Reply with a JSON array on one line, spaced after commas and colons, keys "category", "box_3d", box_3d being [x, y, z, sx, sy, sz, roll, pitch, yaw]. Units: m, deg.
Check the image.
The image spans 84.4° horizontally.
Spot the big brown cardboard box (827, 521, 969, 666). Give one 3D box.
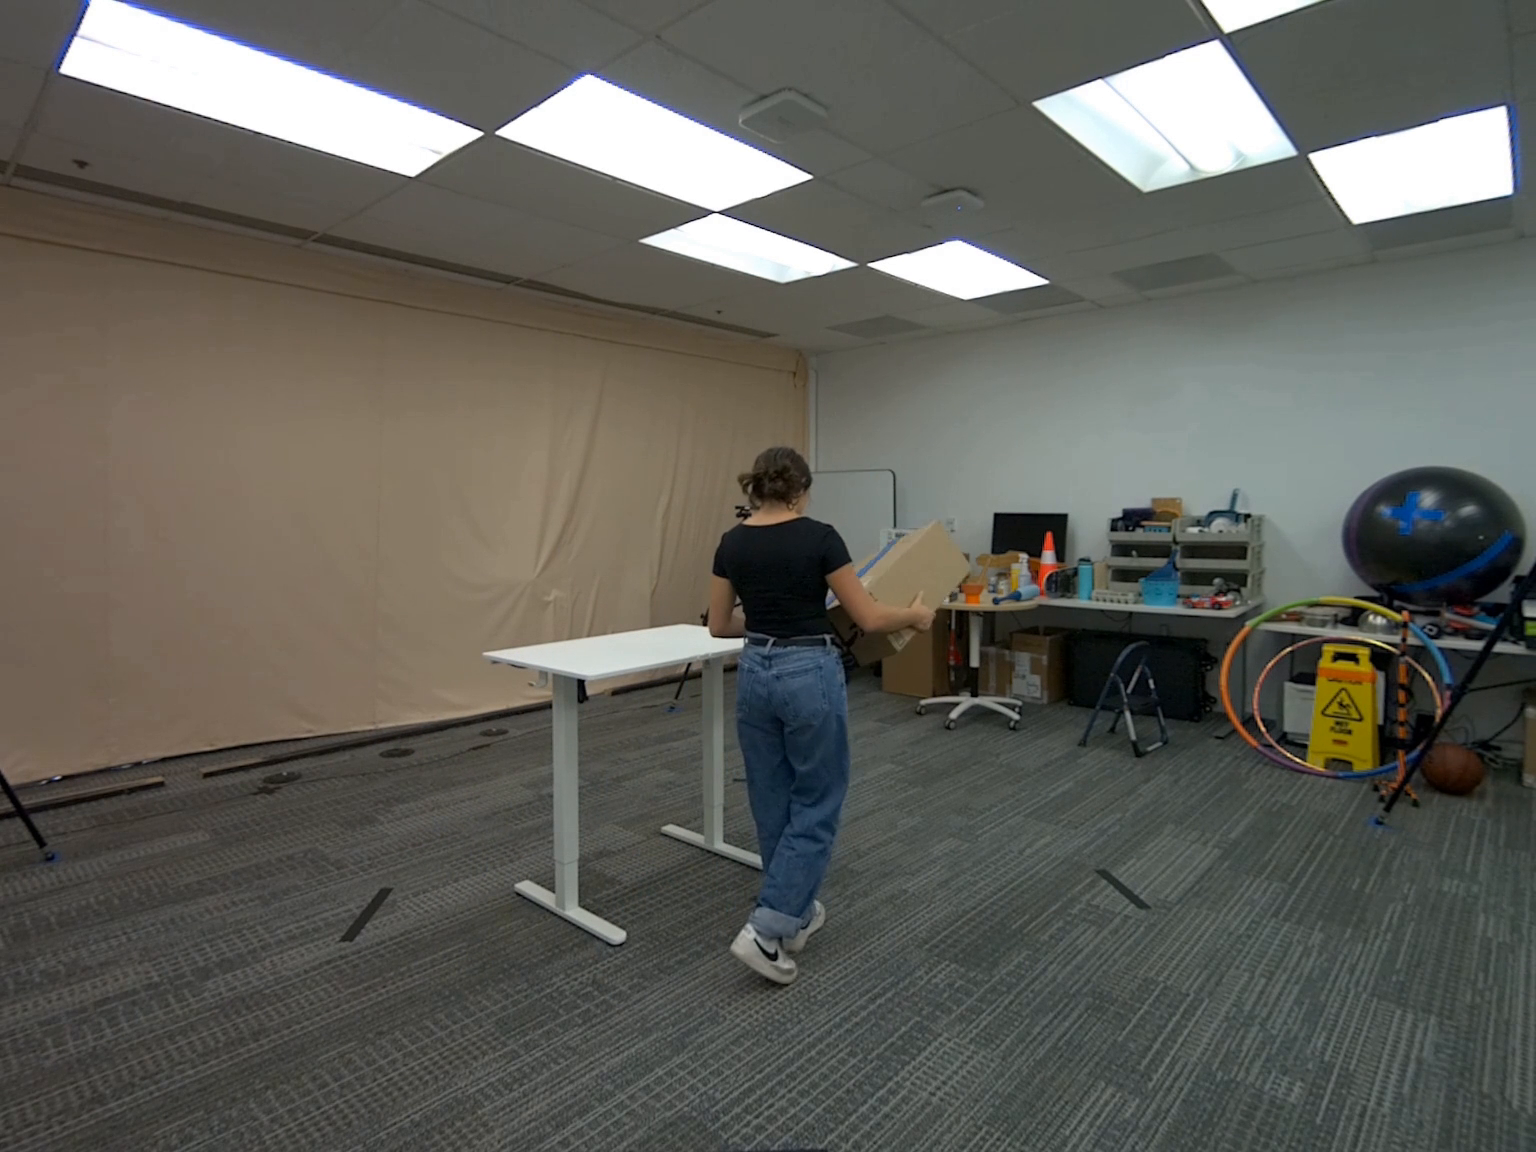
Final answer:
[{"category": "big brown cardboard box", "box_3d": [0.380, 0.090, 2.900, 0.580, 0.233, 0.424, -36, 3, -43]}]
